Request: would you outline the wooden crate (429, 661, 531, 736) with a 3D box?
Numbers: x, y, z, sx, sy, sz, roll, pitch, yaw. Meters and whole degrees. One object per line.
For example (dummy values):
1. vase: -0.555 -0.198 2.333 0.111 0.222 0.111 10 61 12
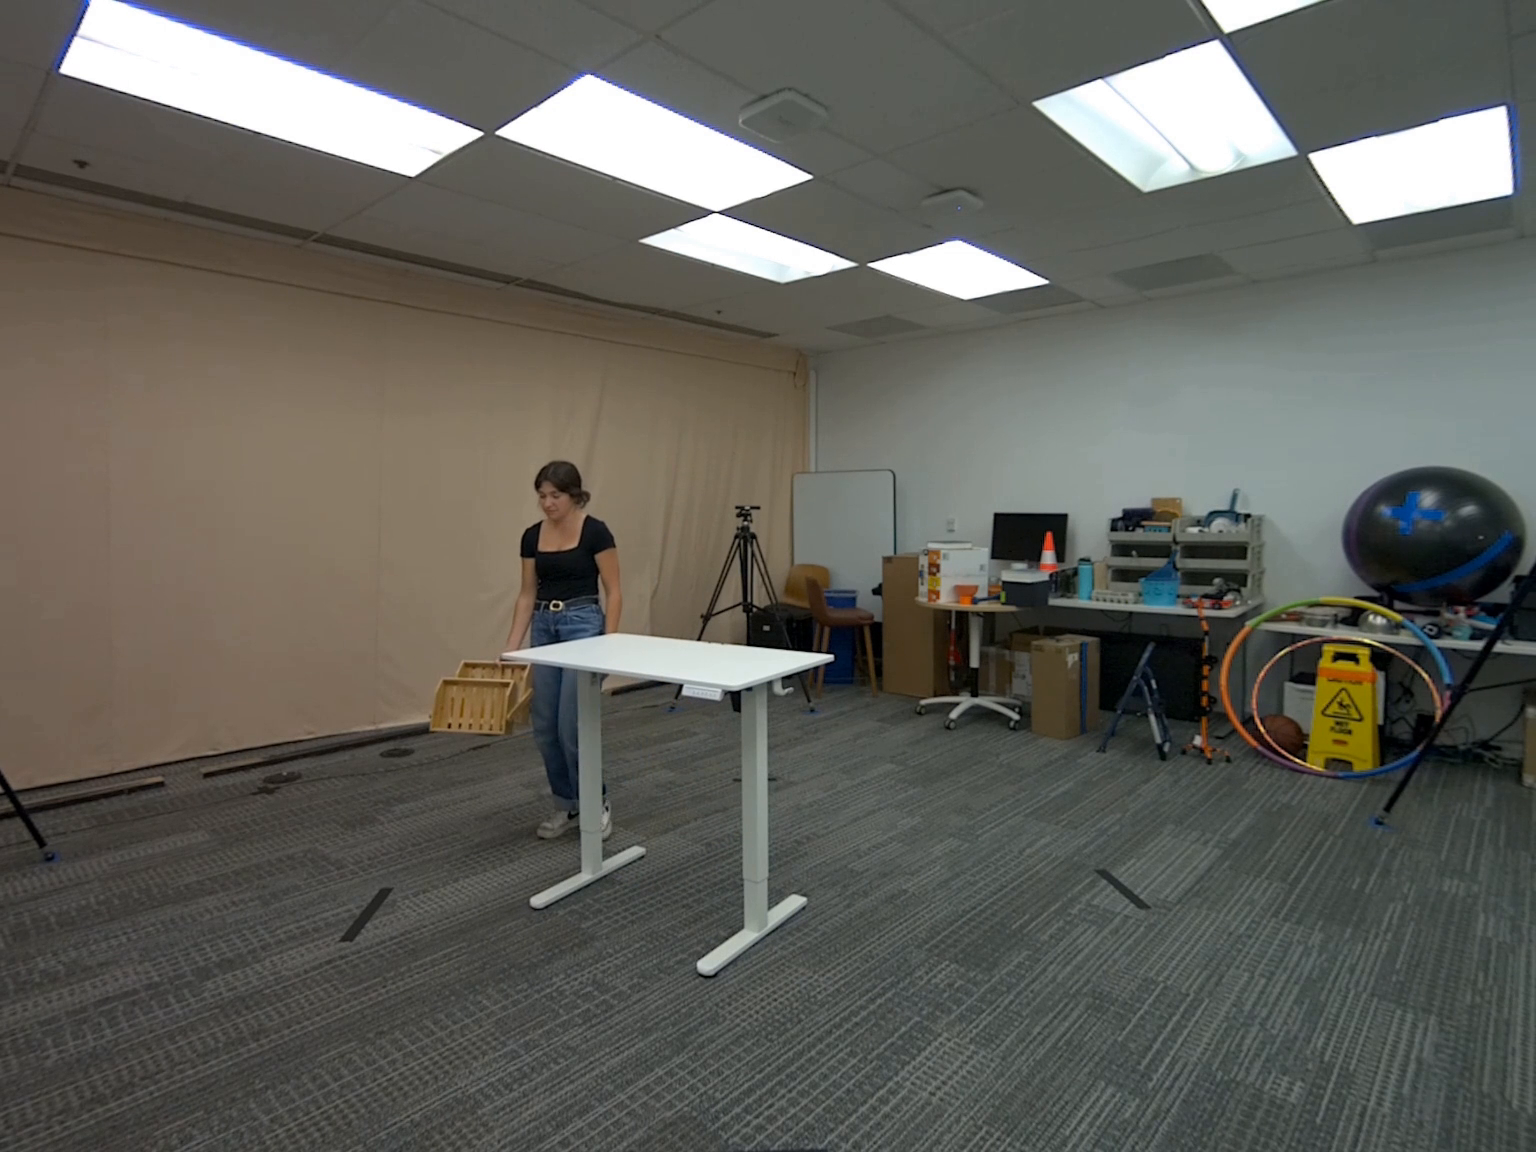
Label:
1. wooden crate: -1.156 0.483 3.365 0.327 0.304 0.269 2 -14 5
